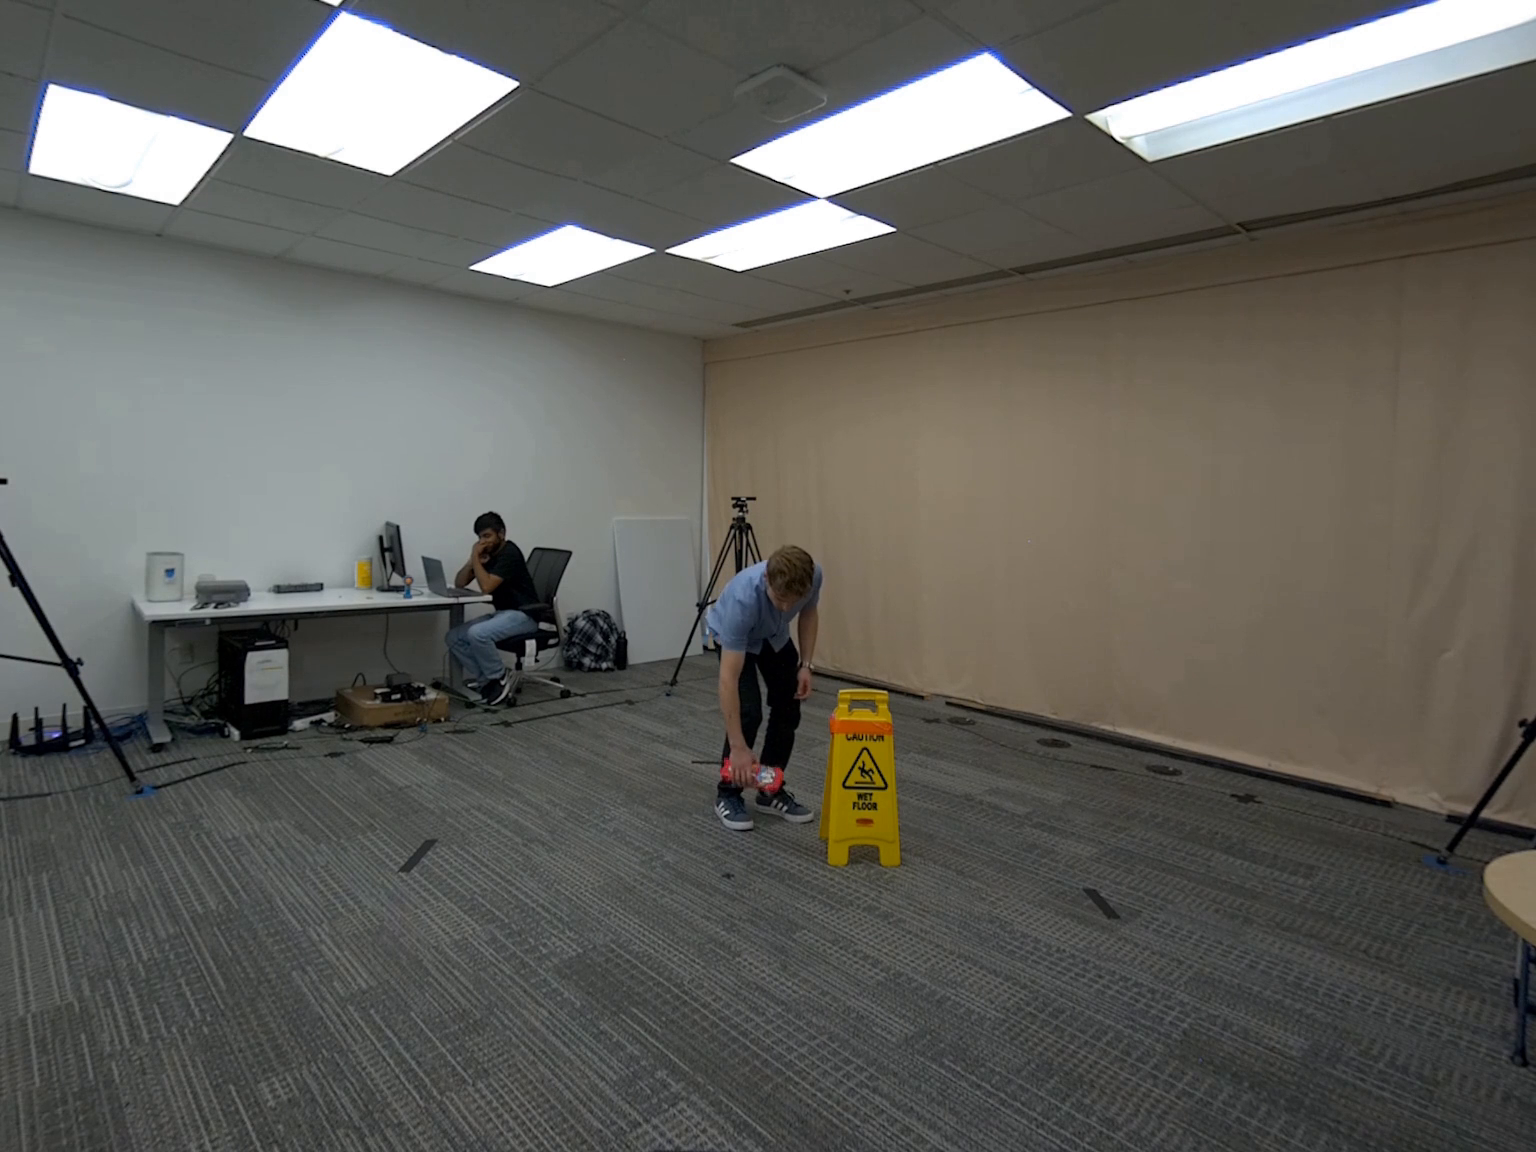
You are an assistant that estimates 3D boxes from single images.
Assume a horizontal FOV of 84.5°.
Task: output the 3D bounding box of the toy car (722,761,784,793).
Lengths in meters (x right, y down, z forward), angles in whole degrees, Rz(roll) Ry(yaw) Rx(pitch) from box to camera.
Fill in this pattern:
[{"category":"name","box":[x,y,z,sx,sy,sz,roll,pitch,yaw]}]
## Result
[{"category":"toy car","box":[-0.089,0.791,3.355,0.259,0.081,0.131,17,48,17]}]
